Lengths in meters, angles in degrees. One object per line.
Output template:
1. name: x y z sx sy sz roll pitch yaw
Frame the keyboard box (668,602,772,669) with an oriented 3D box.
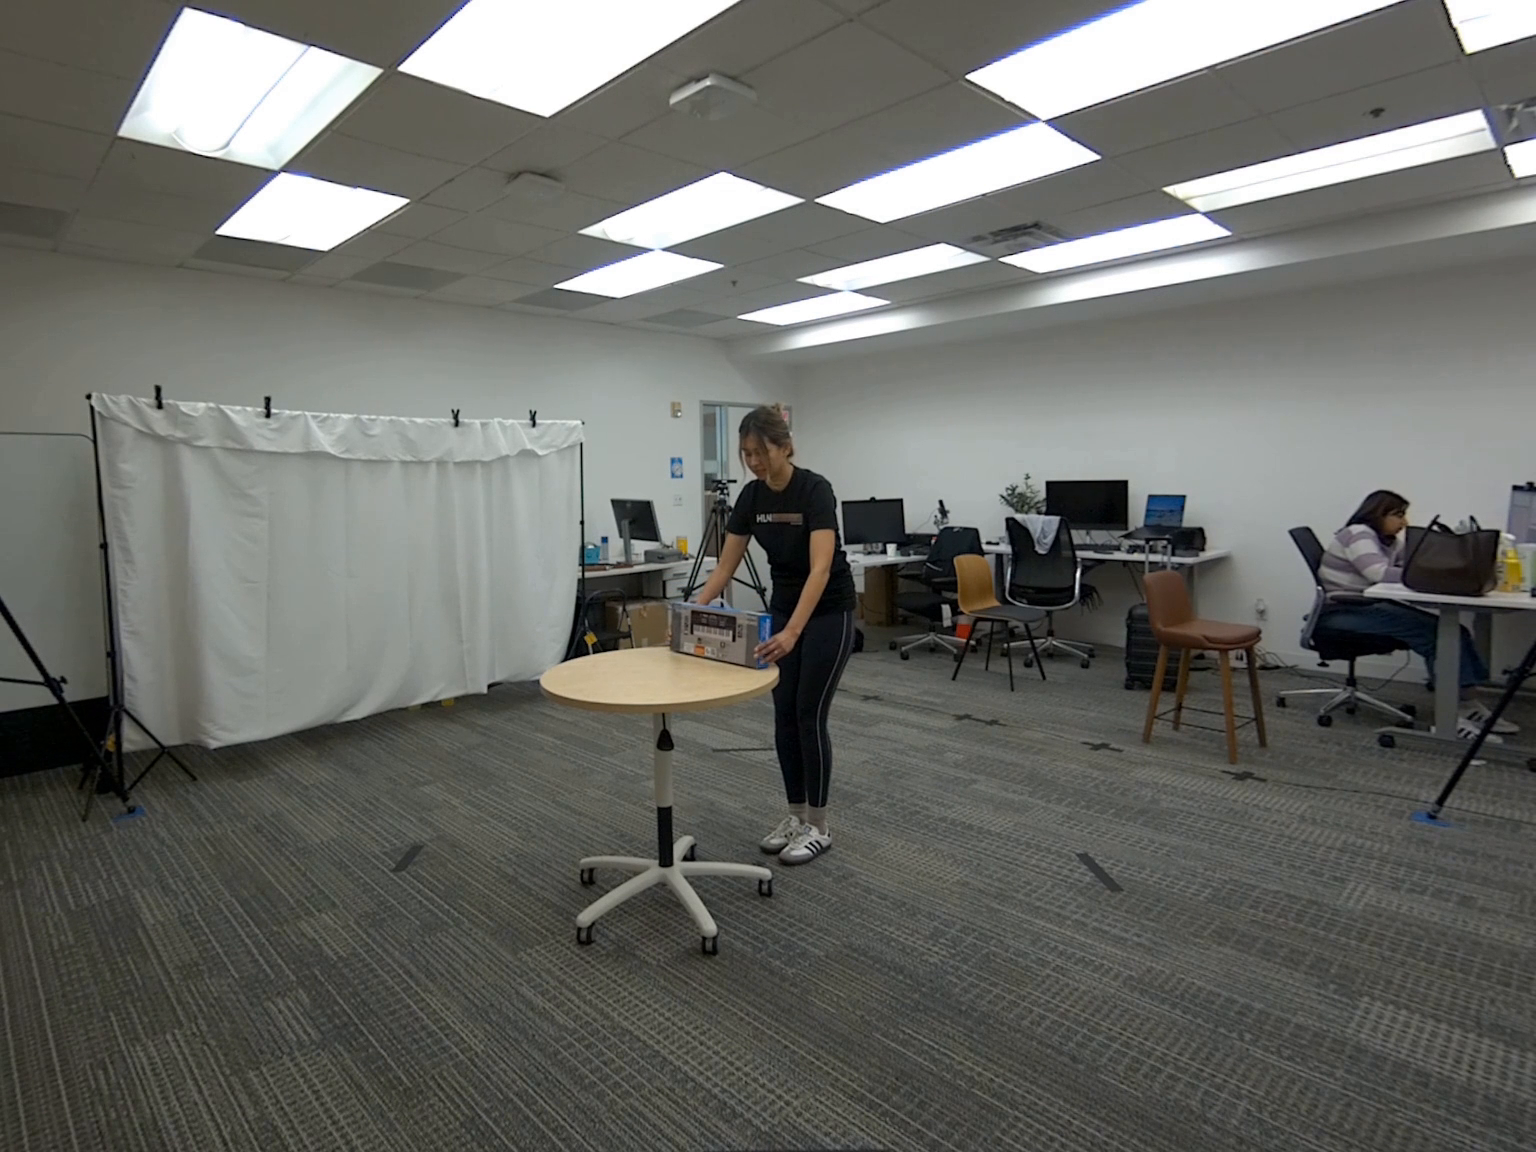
1. keyboard box: -0.167 0.199 2.920 0.450 0.176 0.057 5 3 44
